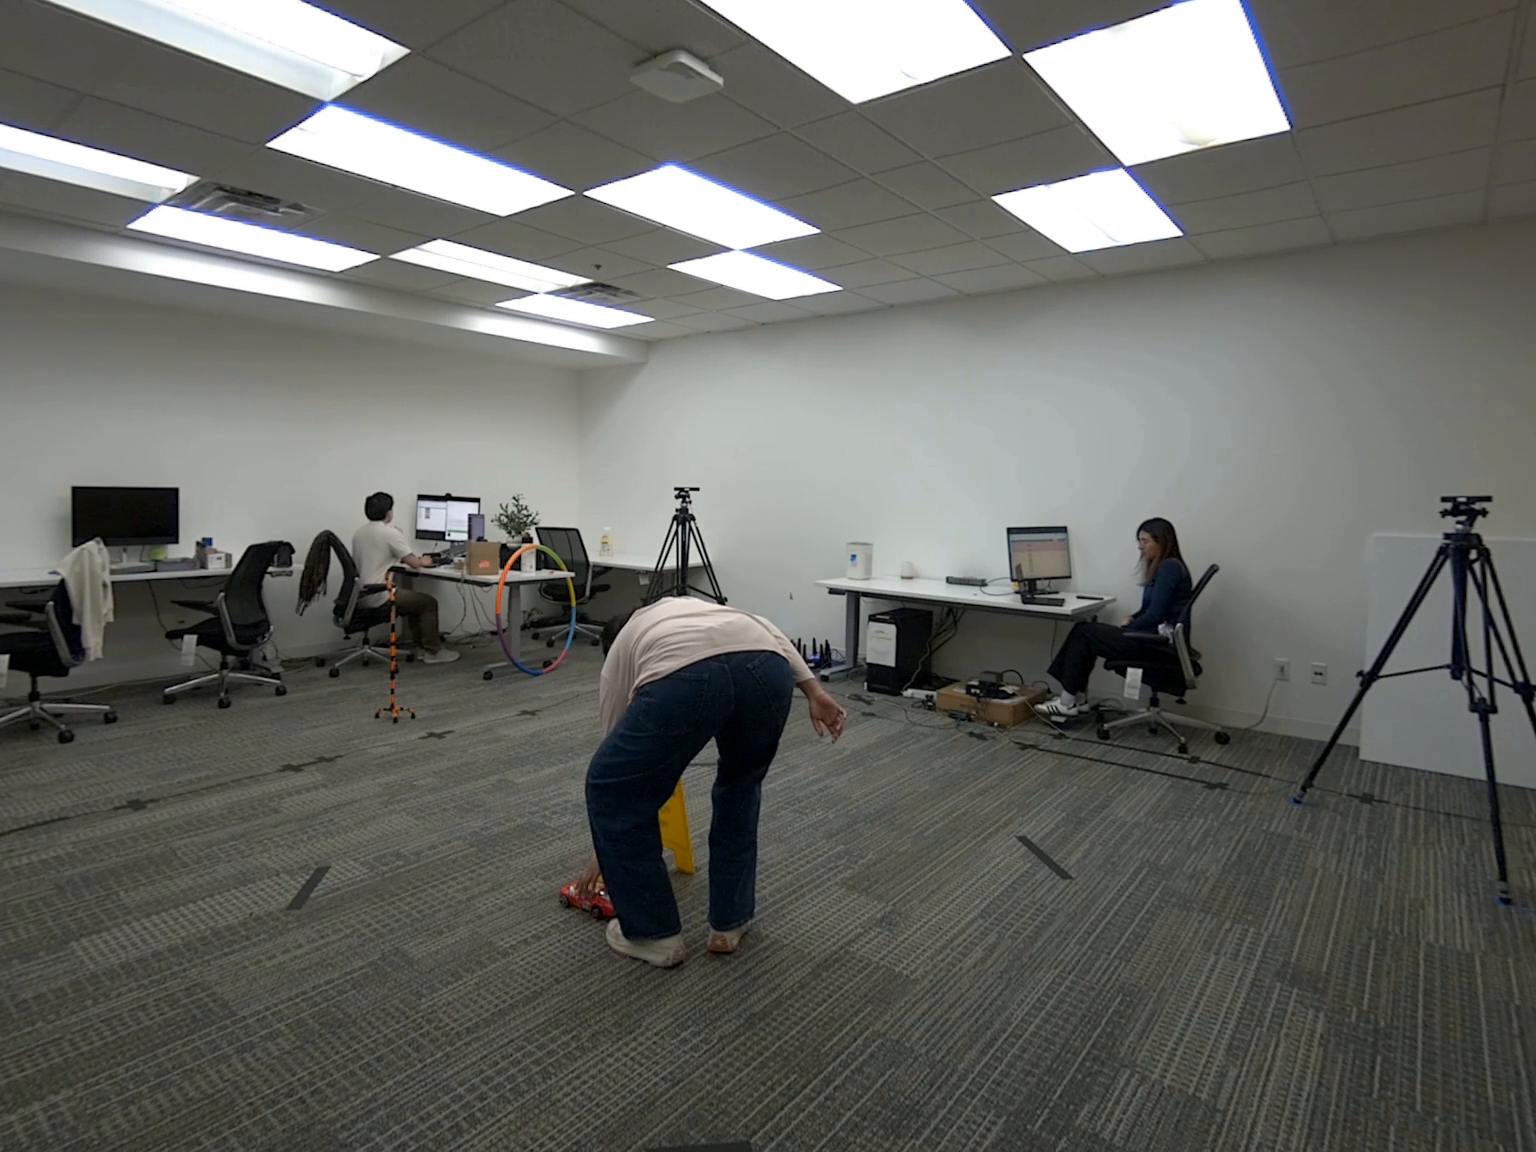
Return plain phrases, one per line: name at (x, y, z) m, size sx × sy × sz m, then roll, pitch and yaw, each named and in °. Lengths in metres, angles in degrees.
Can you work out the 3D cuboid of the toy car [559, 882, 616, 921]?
toy car at (-0.581, 1.061, 2.794) m, size 0.261 × 0.083 × 0.127 m, roll -7°, pitch -1°, yaw 35°
